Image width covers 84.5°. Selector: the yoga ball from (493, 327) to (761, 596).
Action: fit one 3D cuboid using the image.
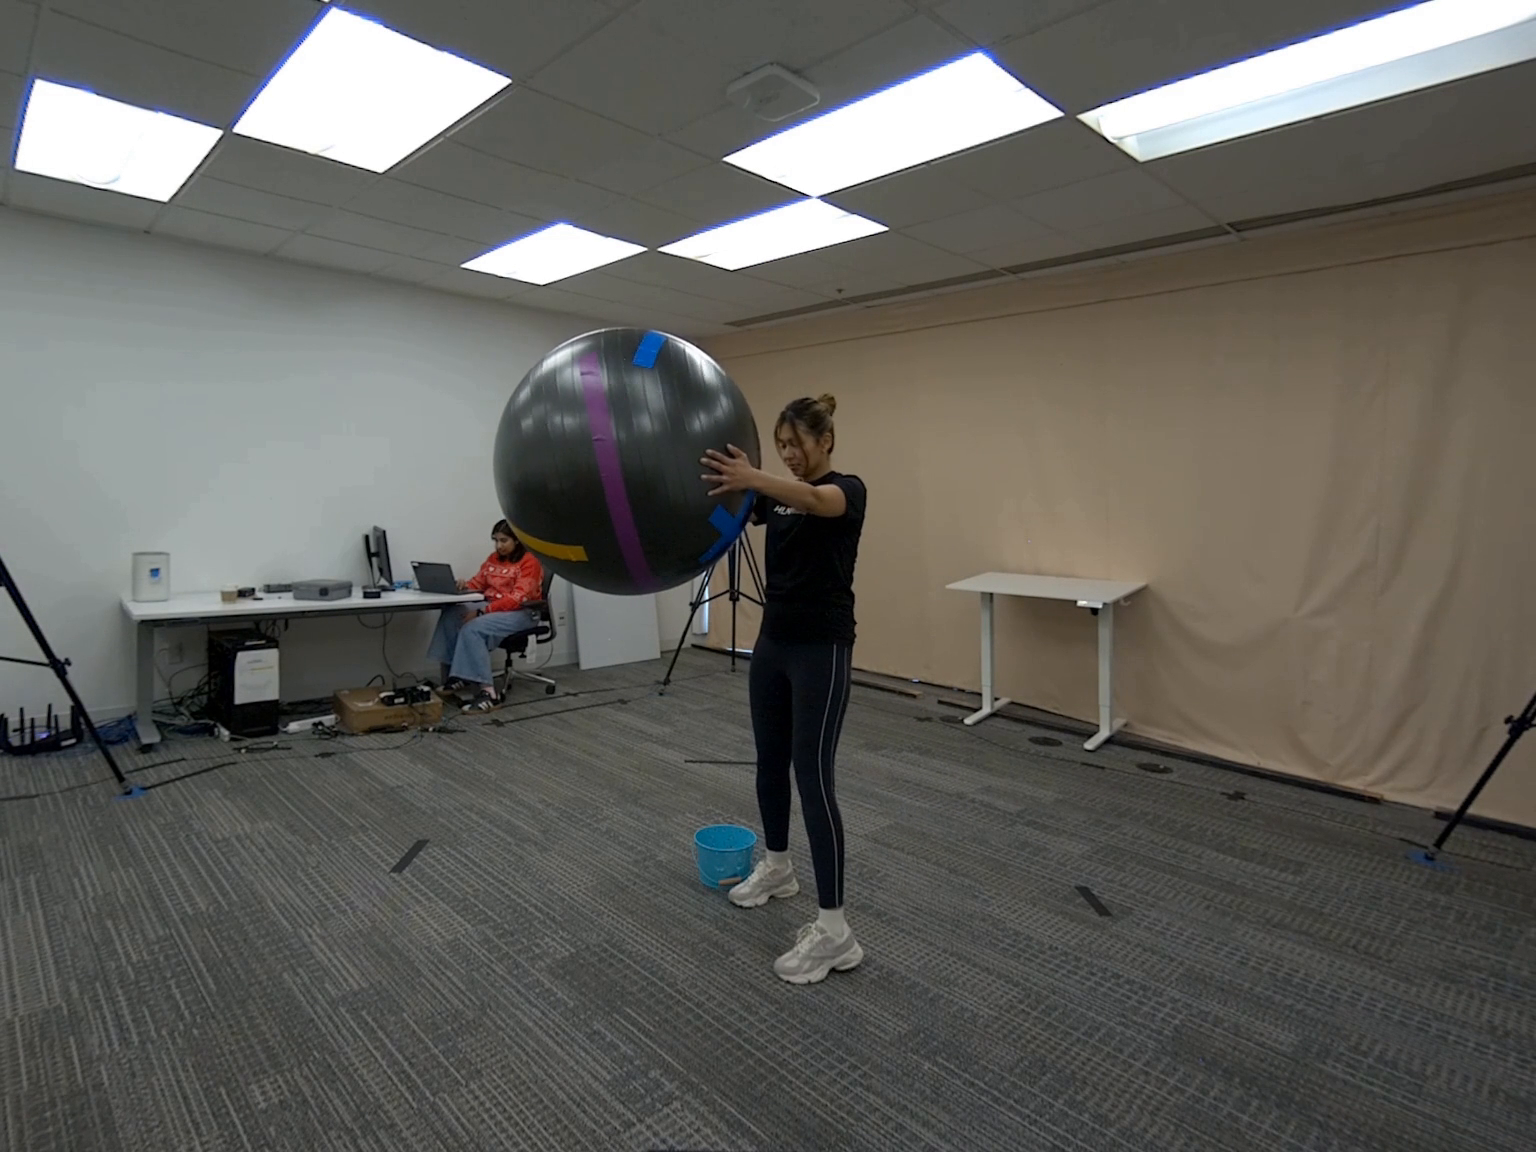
[{"bbox_3d":[-0.396,-0.312,2.417,0.757,0.756,0.761,1,4,-1],"label":"yoga ball"}]
